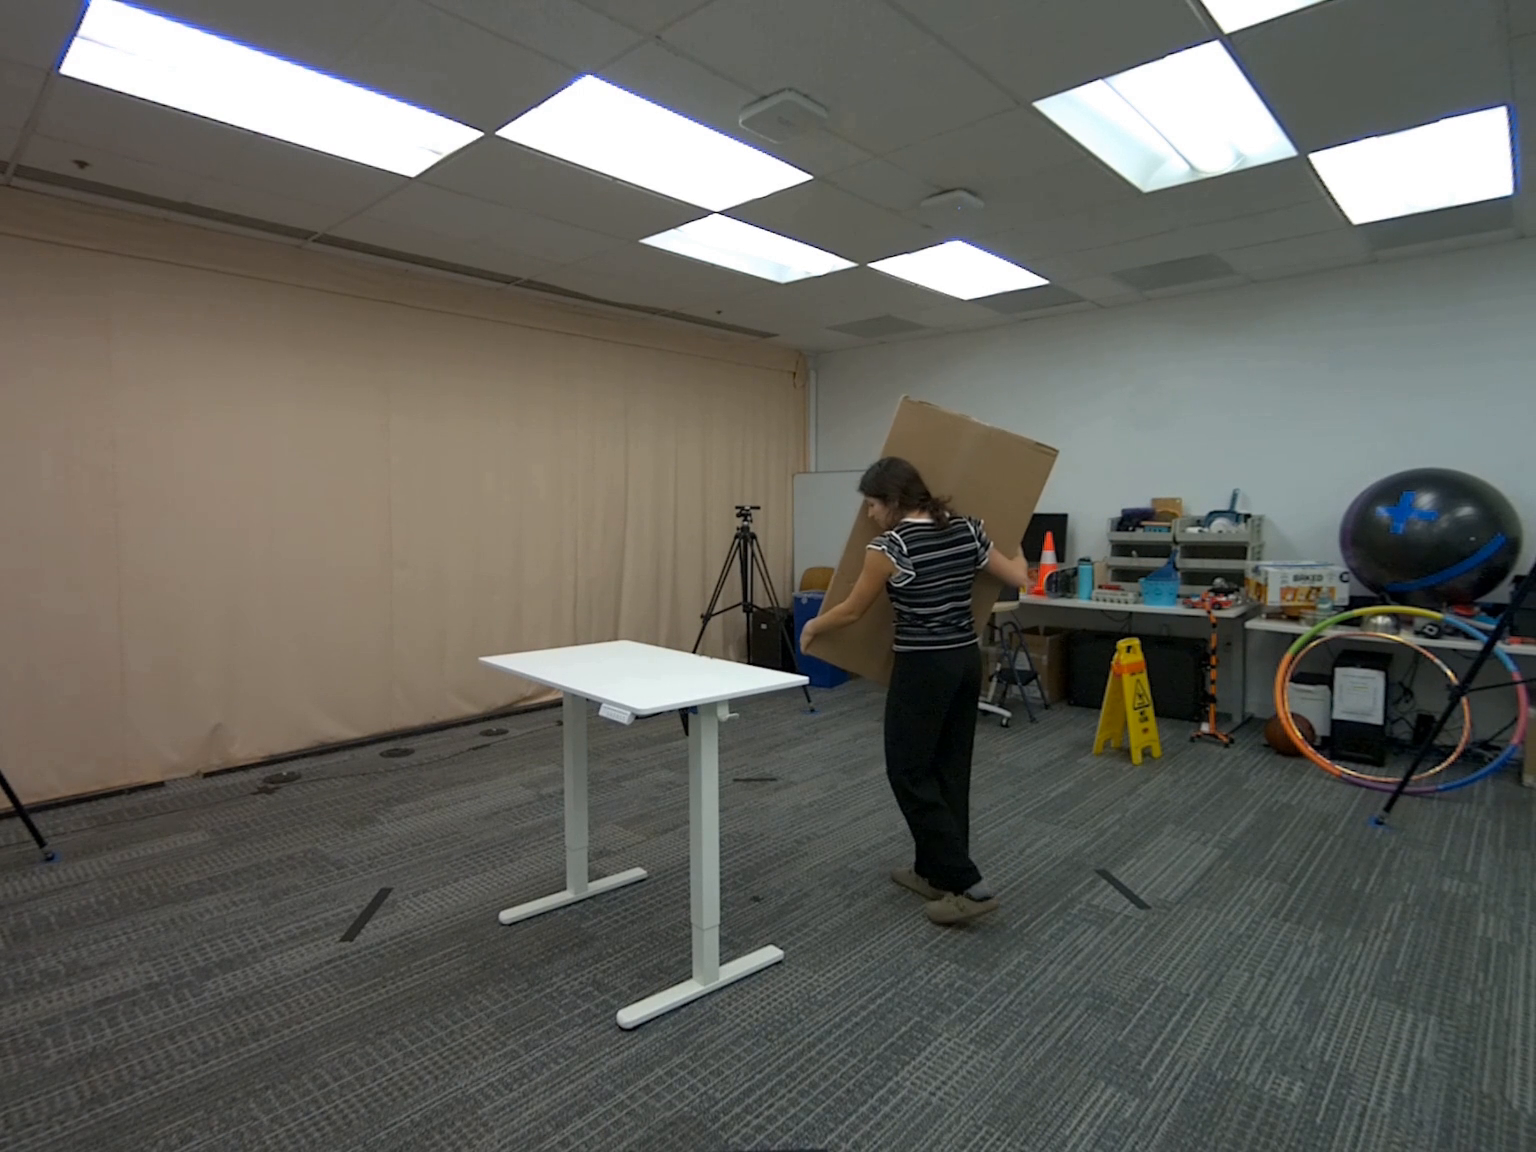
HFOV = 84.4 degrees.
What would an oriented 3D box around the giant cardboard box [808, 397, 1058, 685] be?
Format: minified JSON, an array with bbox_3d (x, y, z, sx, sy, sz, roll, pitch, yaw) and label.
[{"bbox_3d":[0.611,-0.106,3.253,0.584,1.023,0.423,22,12,7],"label":"giant cardboard box"}]
